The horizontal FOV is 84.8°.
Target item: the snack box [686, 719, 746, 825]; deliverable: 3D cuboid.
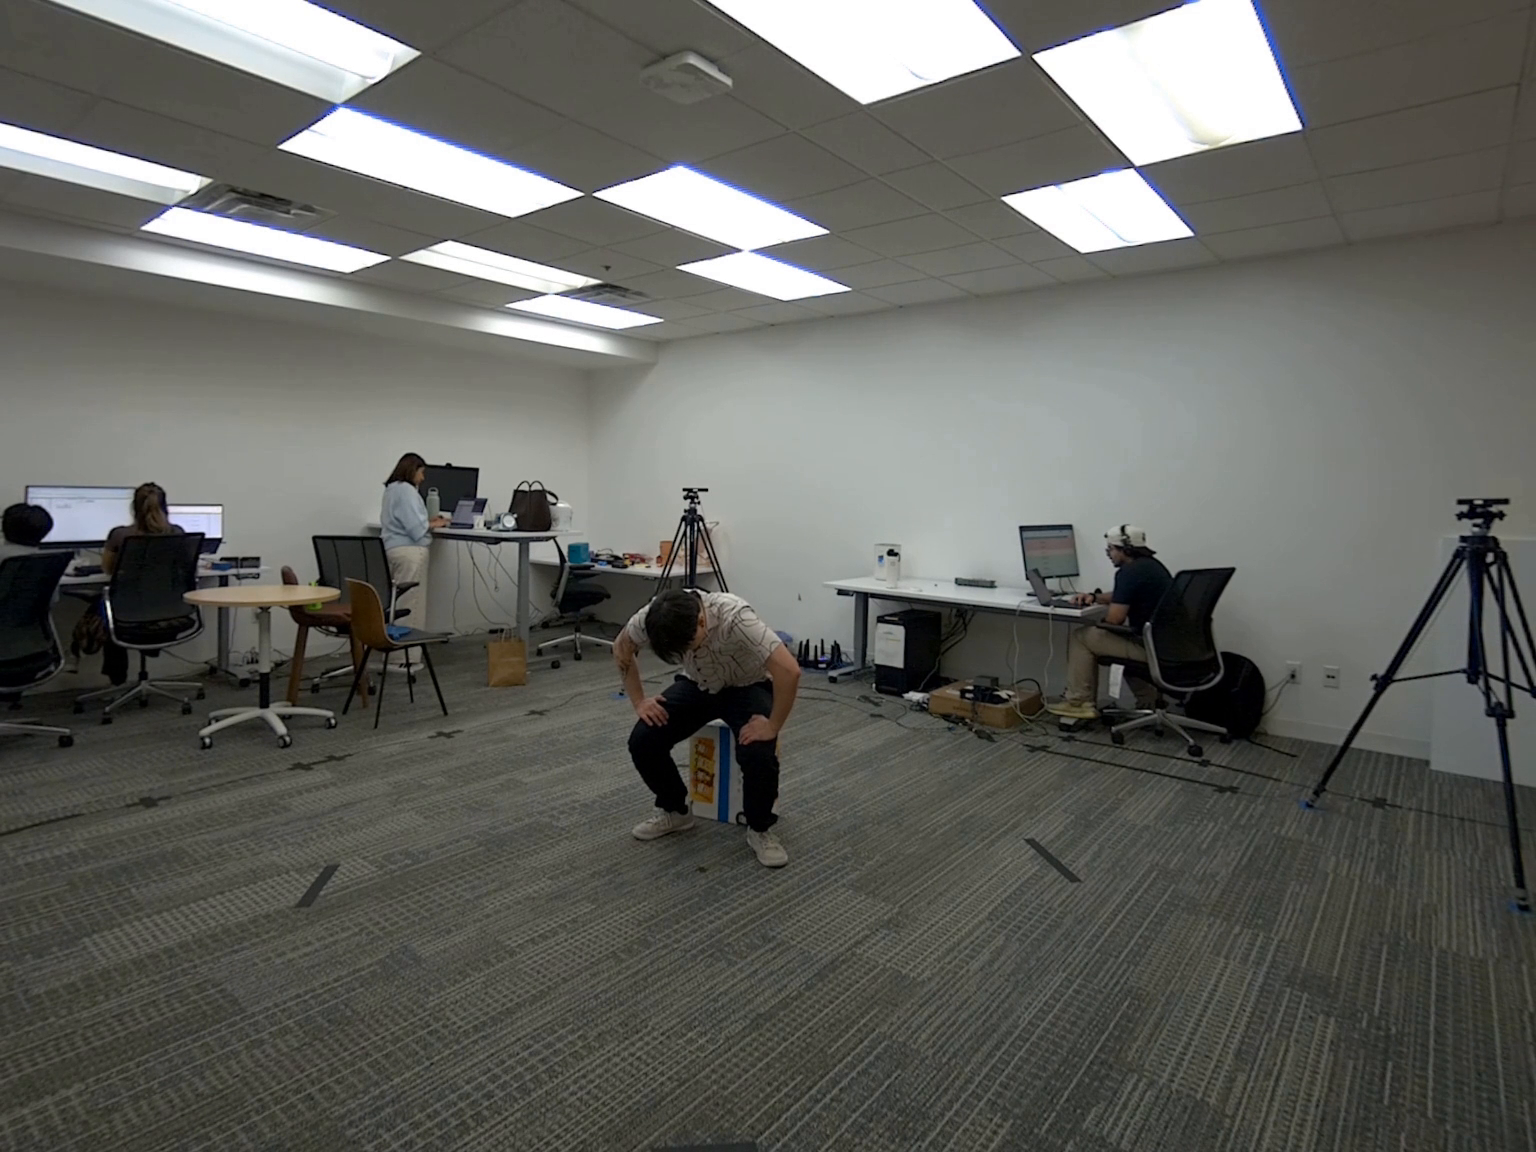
[{"bbox_3d":[-0.153,0.816,3.636,0.349,0.404,0.201,3,3,24],"label":"snack box"}]
